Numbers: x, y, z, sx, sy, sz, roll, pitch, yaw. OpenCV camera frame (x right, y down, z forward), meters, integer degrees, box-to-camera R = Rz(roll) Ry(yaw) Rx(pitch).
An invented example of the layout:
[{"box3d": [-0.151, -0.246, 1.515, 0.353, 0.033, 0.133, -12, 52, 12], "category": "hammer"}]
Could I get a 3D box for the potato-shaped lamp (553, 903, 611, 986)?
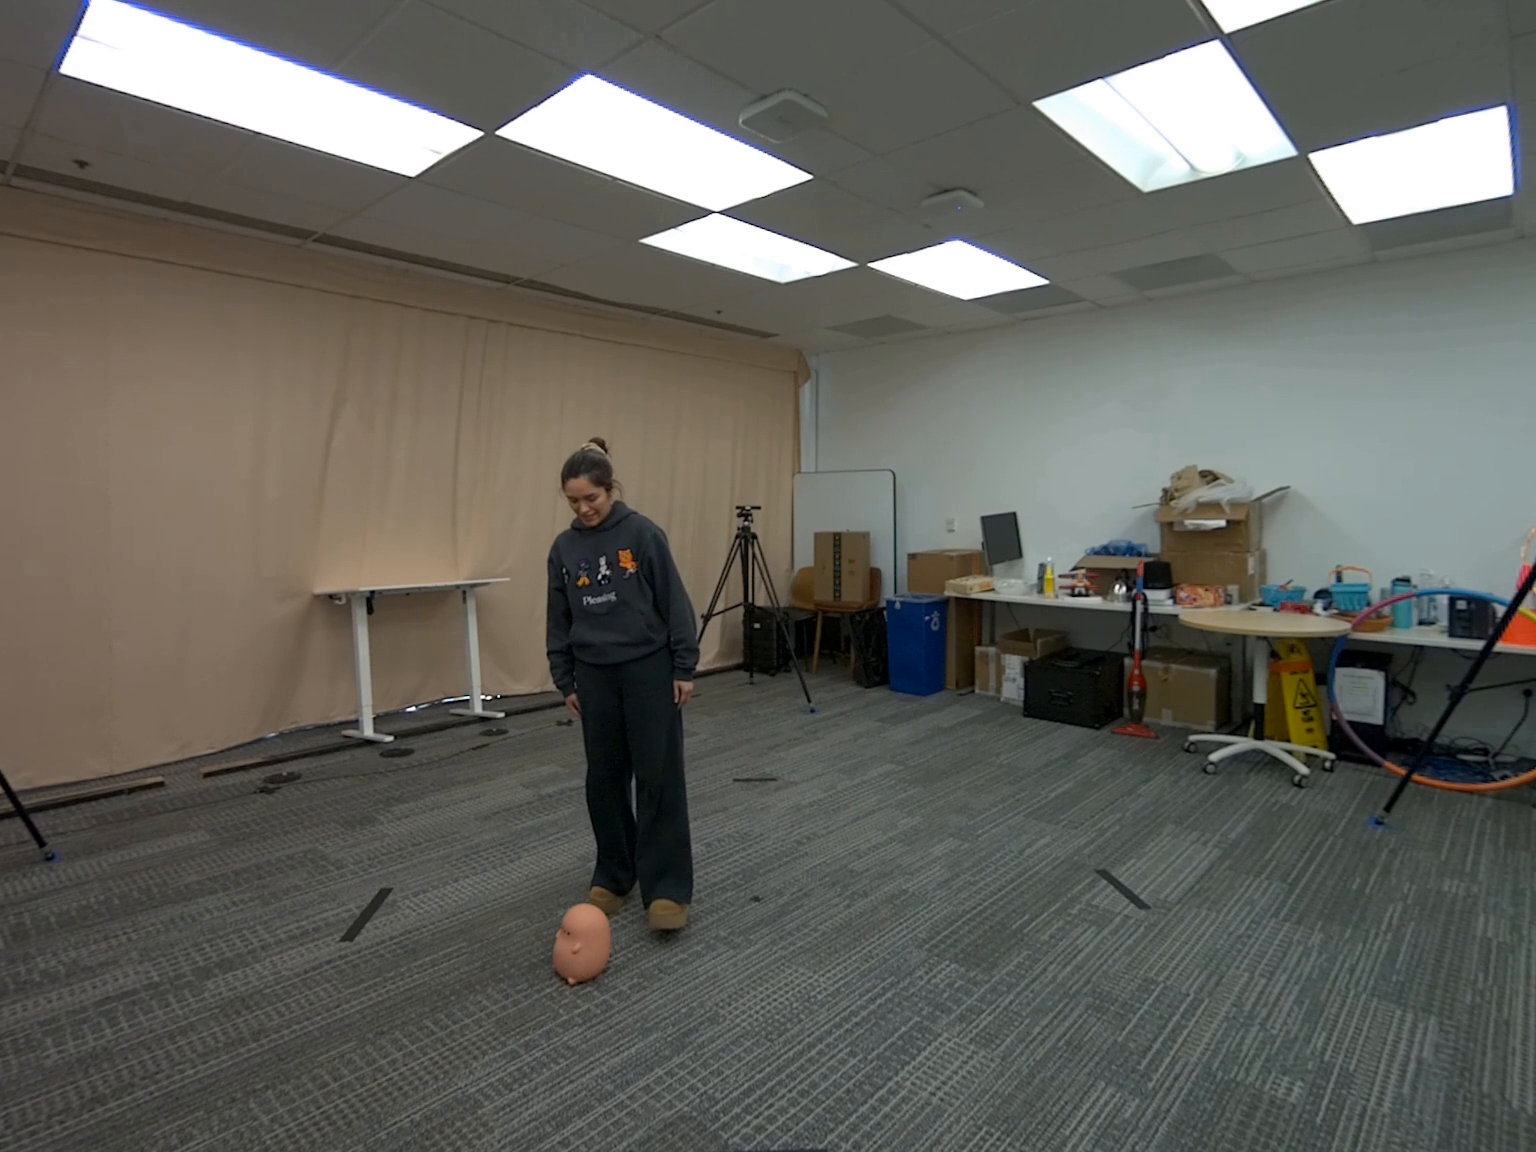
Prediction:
[{"box3d": [-0.541, 1.090, 2.520, 0.166, 0.198, 0.170, -2, 3, -35], "category": "potato-shaped lamp"}]
